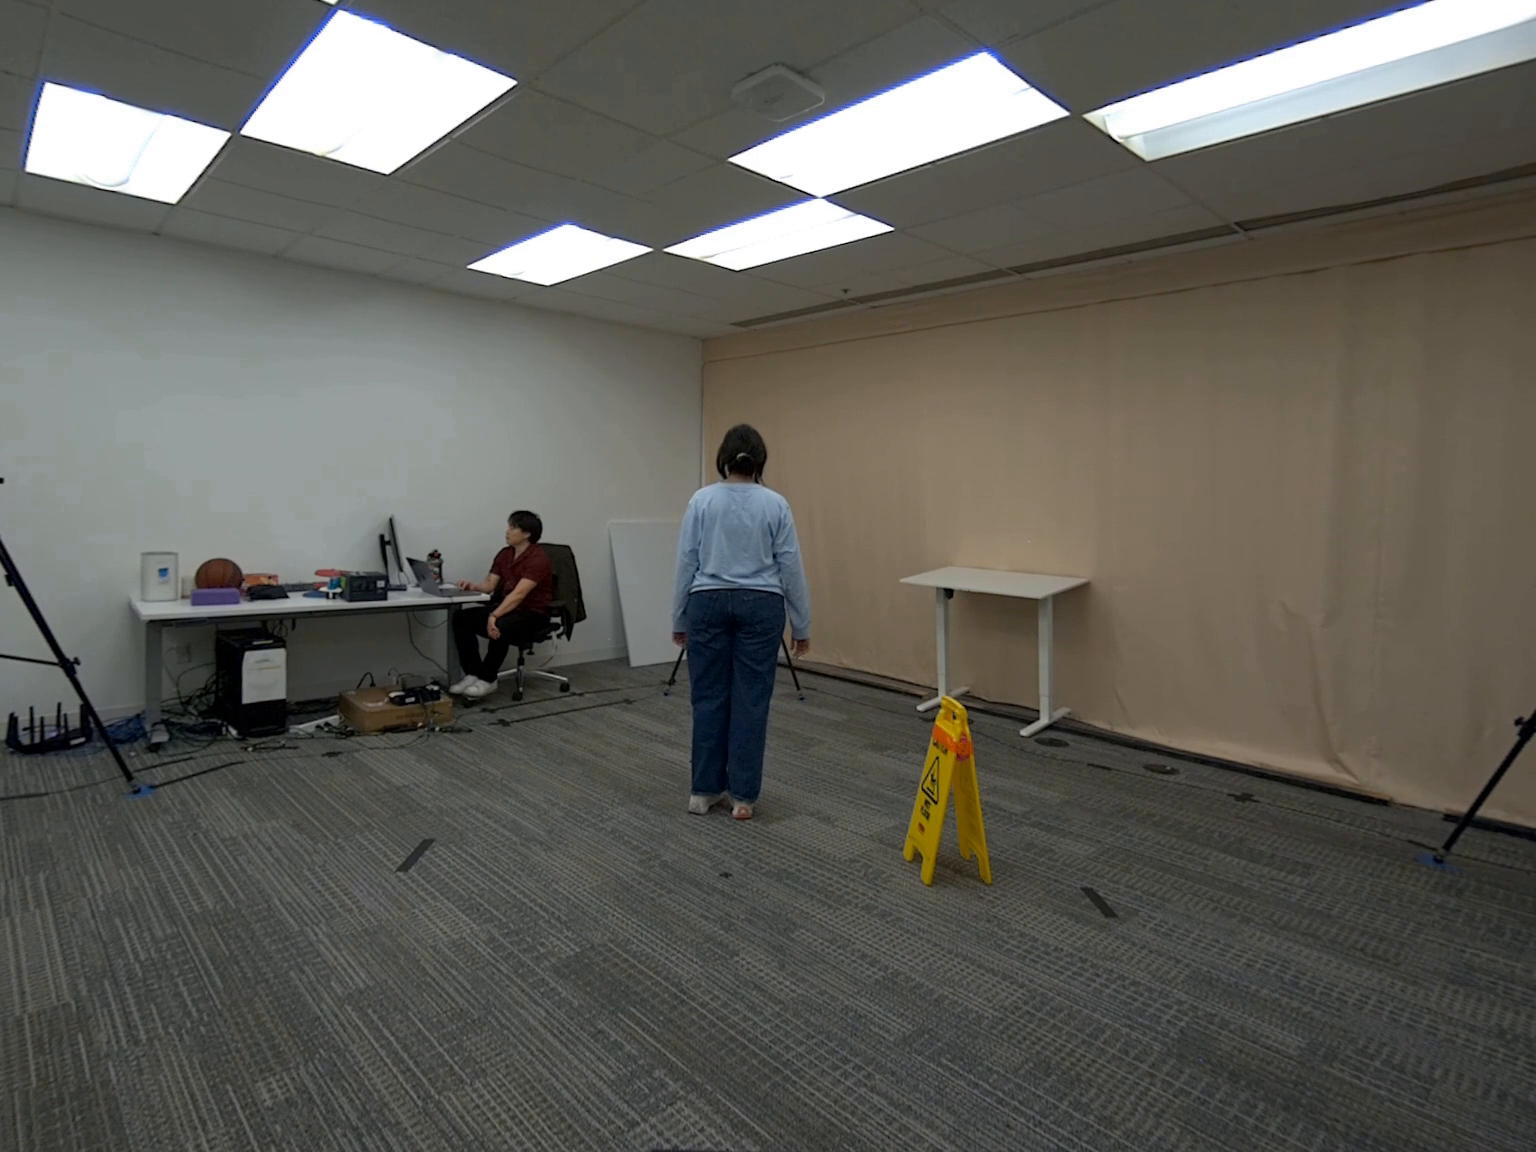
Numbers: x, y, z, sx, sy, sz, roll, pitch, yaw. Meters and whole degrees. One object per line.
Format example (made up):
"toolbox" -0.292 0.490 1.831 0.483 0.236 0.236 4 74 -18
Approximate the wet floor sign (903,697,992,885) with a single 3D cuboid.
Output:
"wet floor sign" 0.682 0.792 3.188 0.288 0.645 0.284 1 2 -7
